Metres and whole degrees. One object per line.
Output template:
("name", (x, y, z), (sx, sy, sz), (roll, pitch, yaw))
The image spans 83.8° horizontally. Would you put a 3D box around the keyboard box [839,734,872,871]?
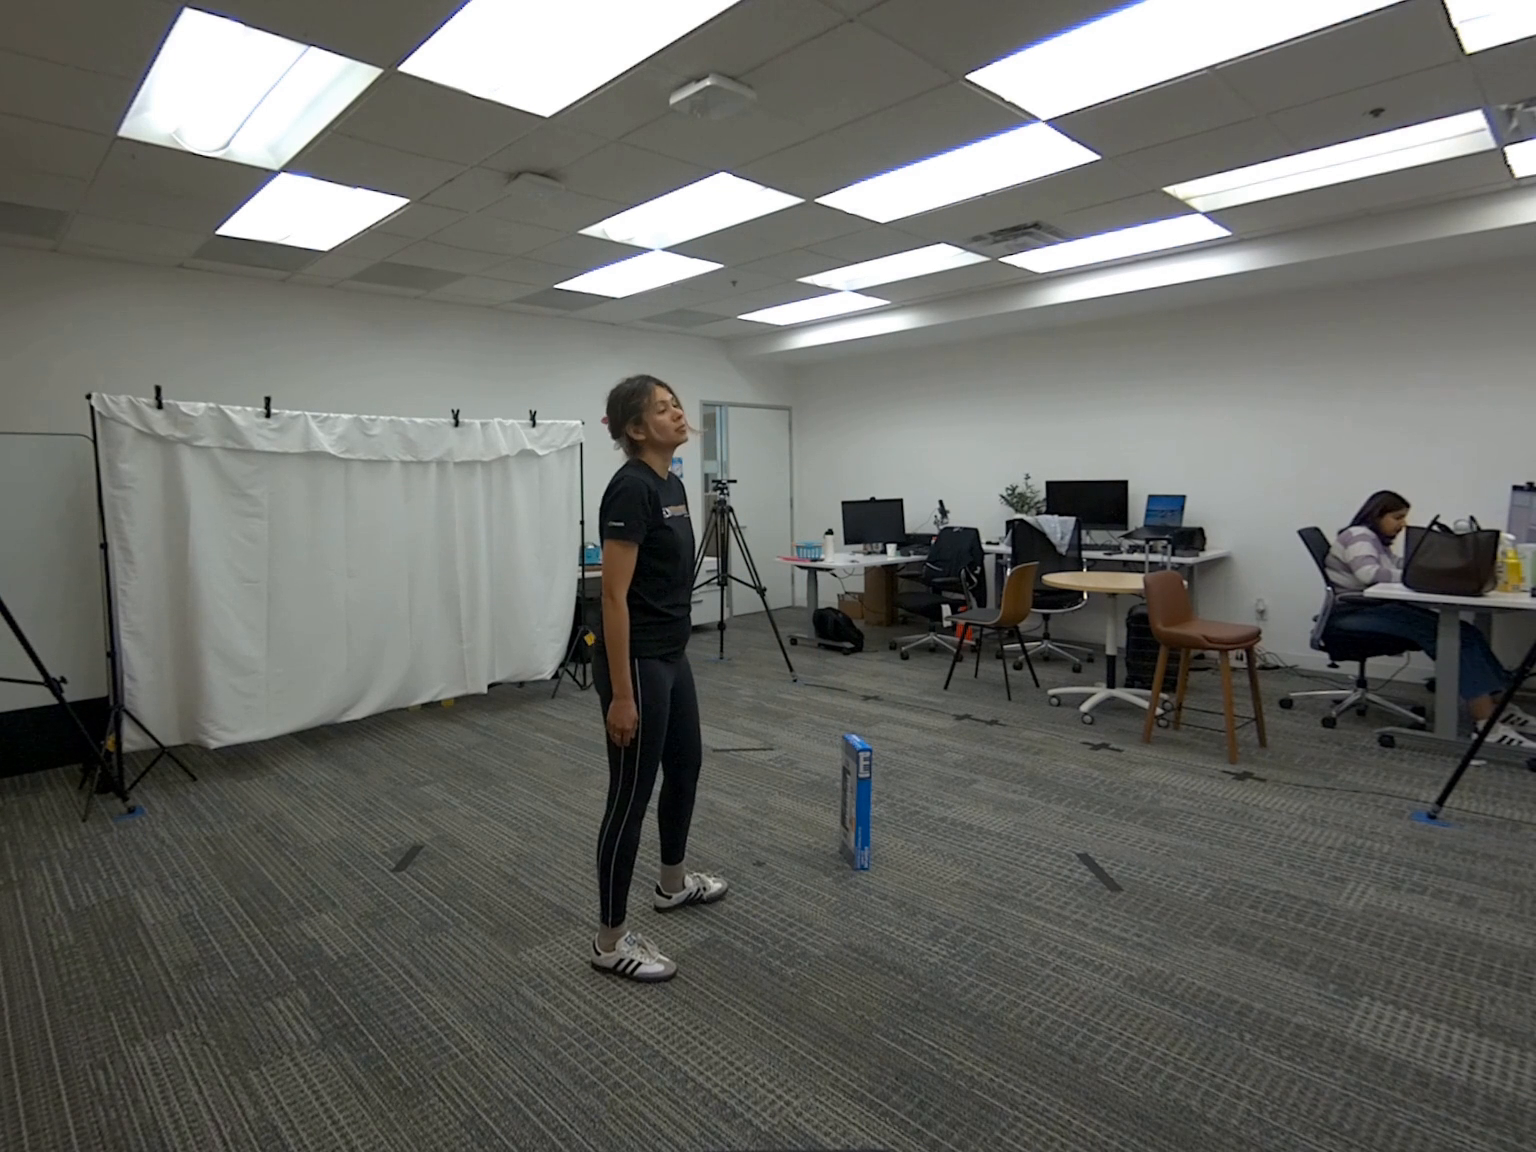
("keyboard box", (0.322, 0.822, 3.115), (0.058, 0.436, 0.178), (1, 3, -13))
